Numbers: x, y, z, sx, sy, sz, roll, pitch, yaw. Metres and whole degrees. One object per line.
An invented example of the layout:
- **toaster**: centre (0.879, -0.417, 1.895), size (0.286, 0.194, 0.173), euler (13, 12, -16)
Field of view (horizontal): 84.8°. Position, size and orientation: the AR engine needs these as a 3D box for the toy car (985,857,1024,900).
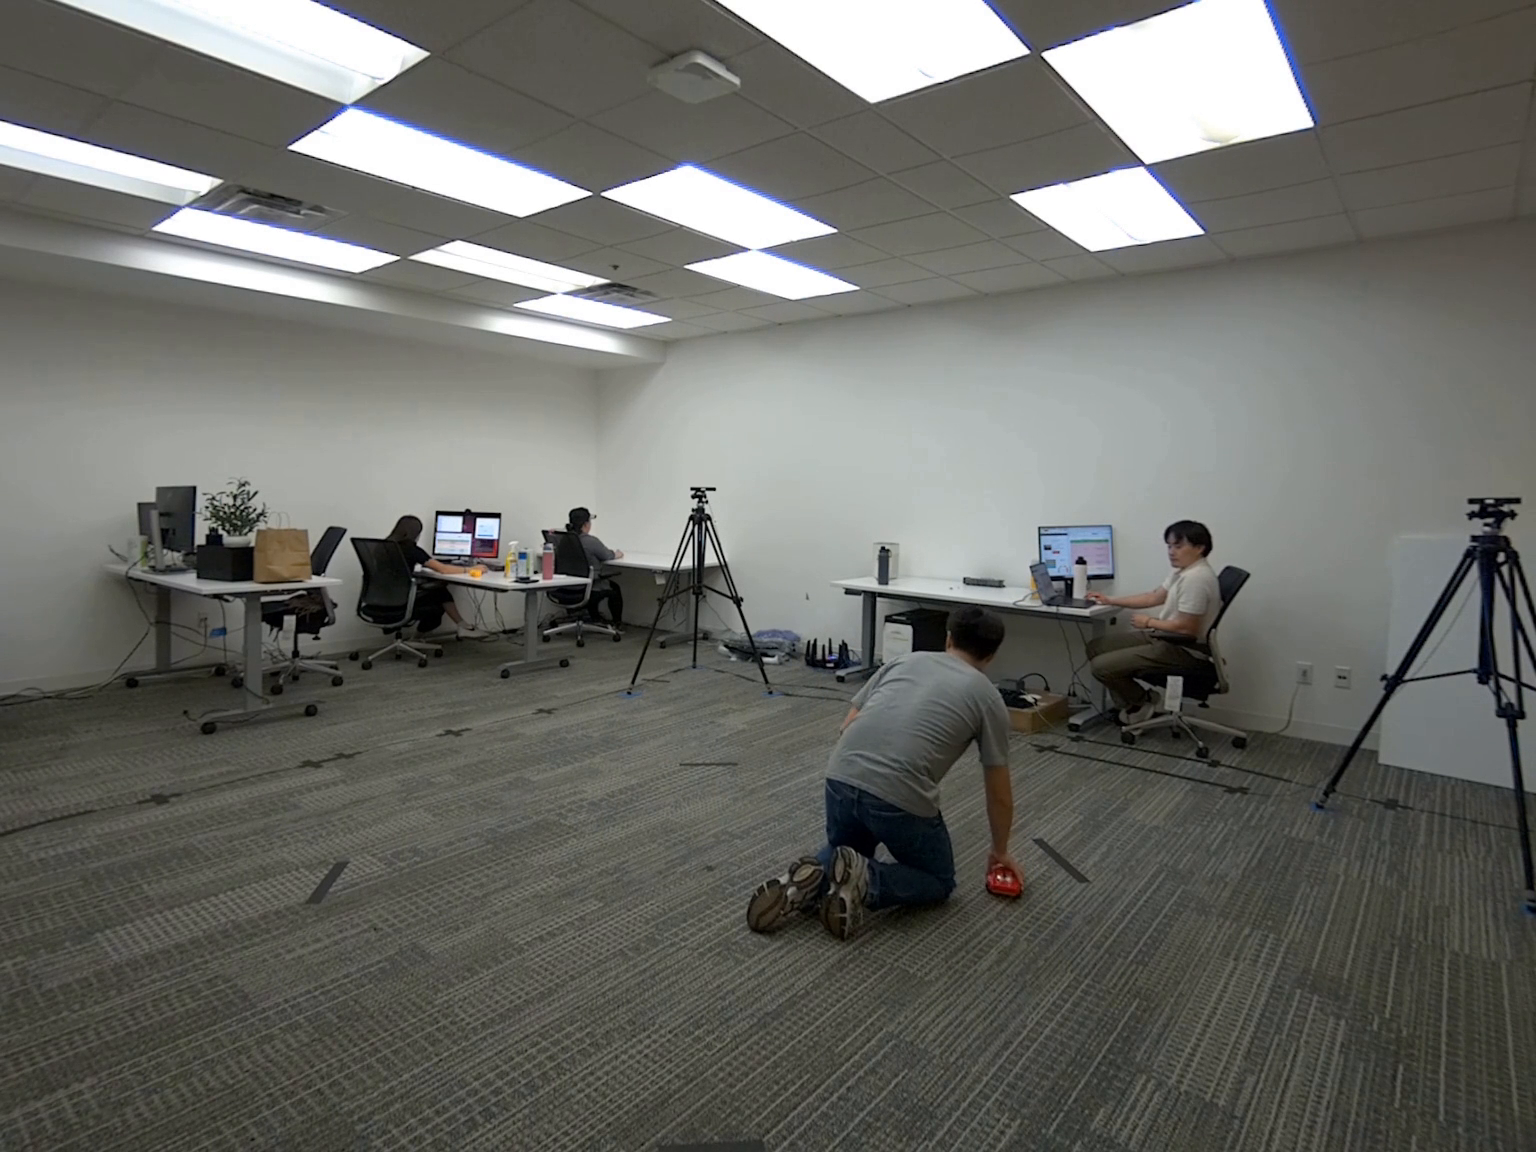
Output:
- **toy car**: centre (0.827, 1.073, 3.029), size (0.132, 0.083, 0.249), euler (3, -4, 13)
